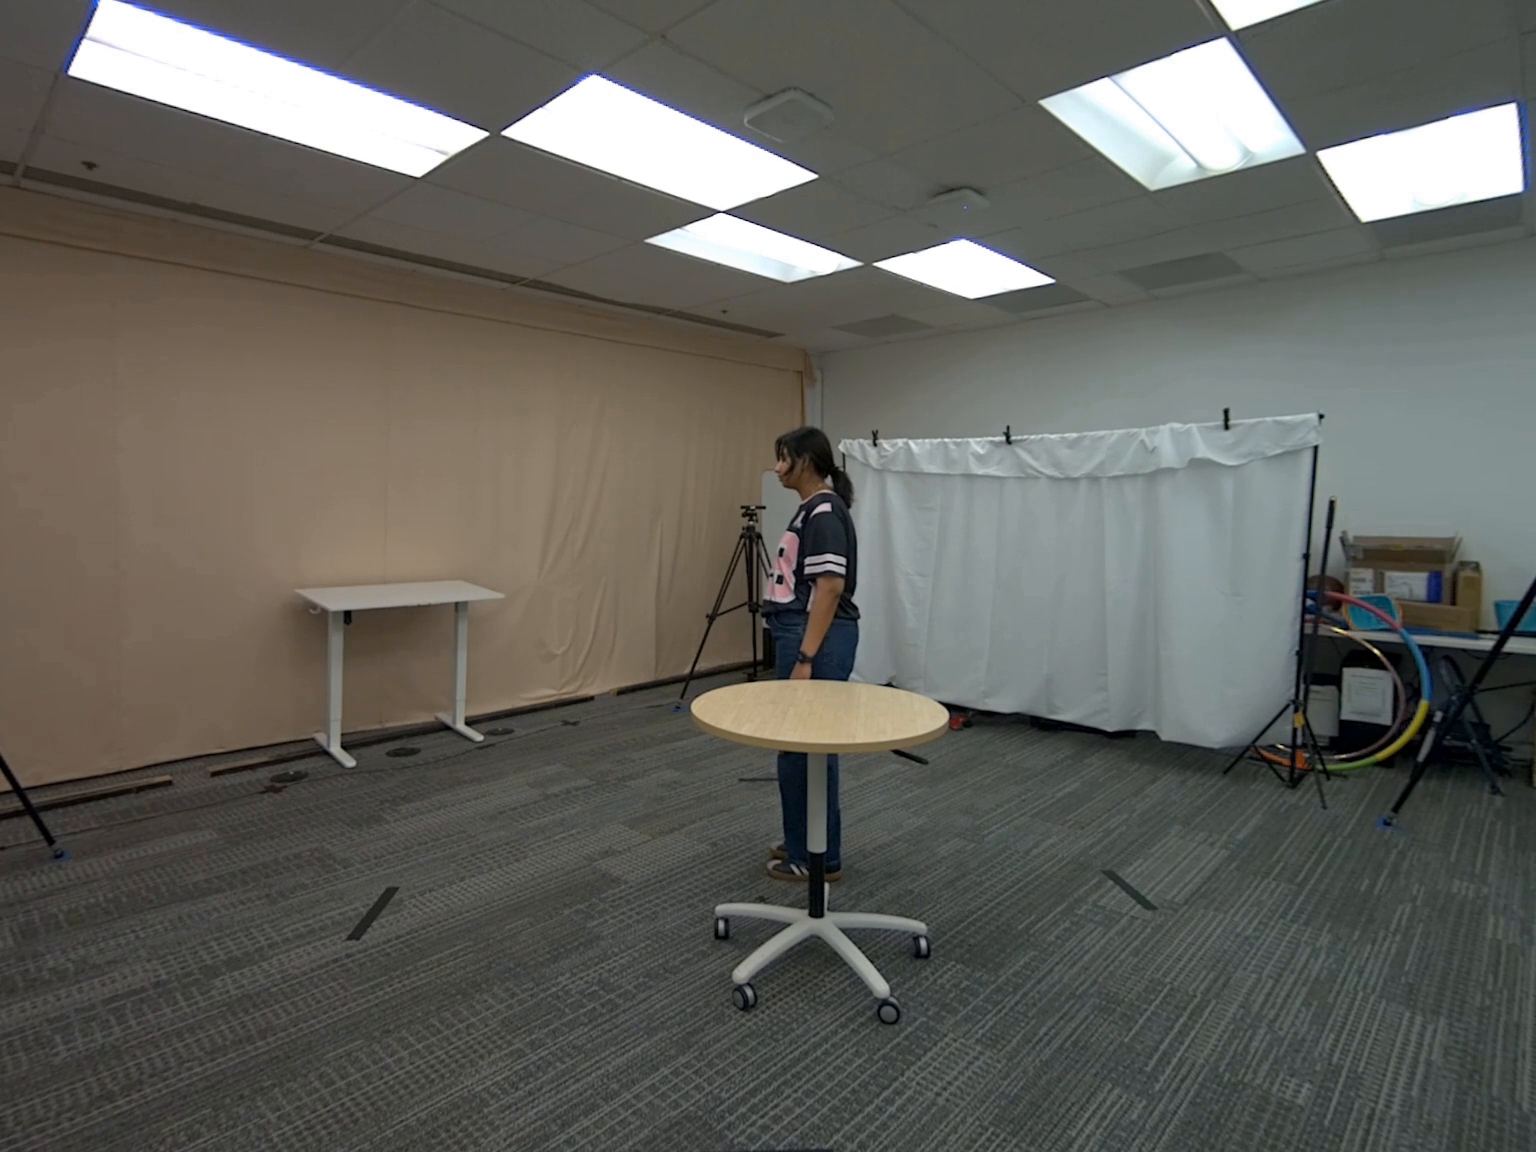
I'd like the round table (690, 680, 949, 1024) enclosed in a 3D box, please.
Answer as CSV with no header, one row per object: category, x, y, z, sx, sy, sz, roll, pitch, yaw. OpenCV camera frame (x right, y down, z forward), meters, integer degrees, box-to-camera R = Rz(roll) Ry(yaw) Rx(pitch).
round table,0.167,0.784,2.557,0.784,0.785,0.788,0,4,-2
